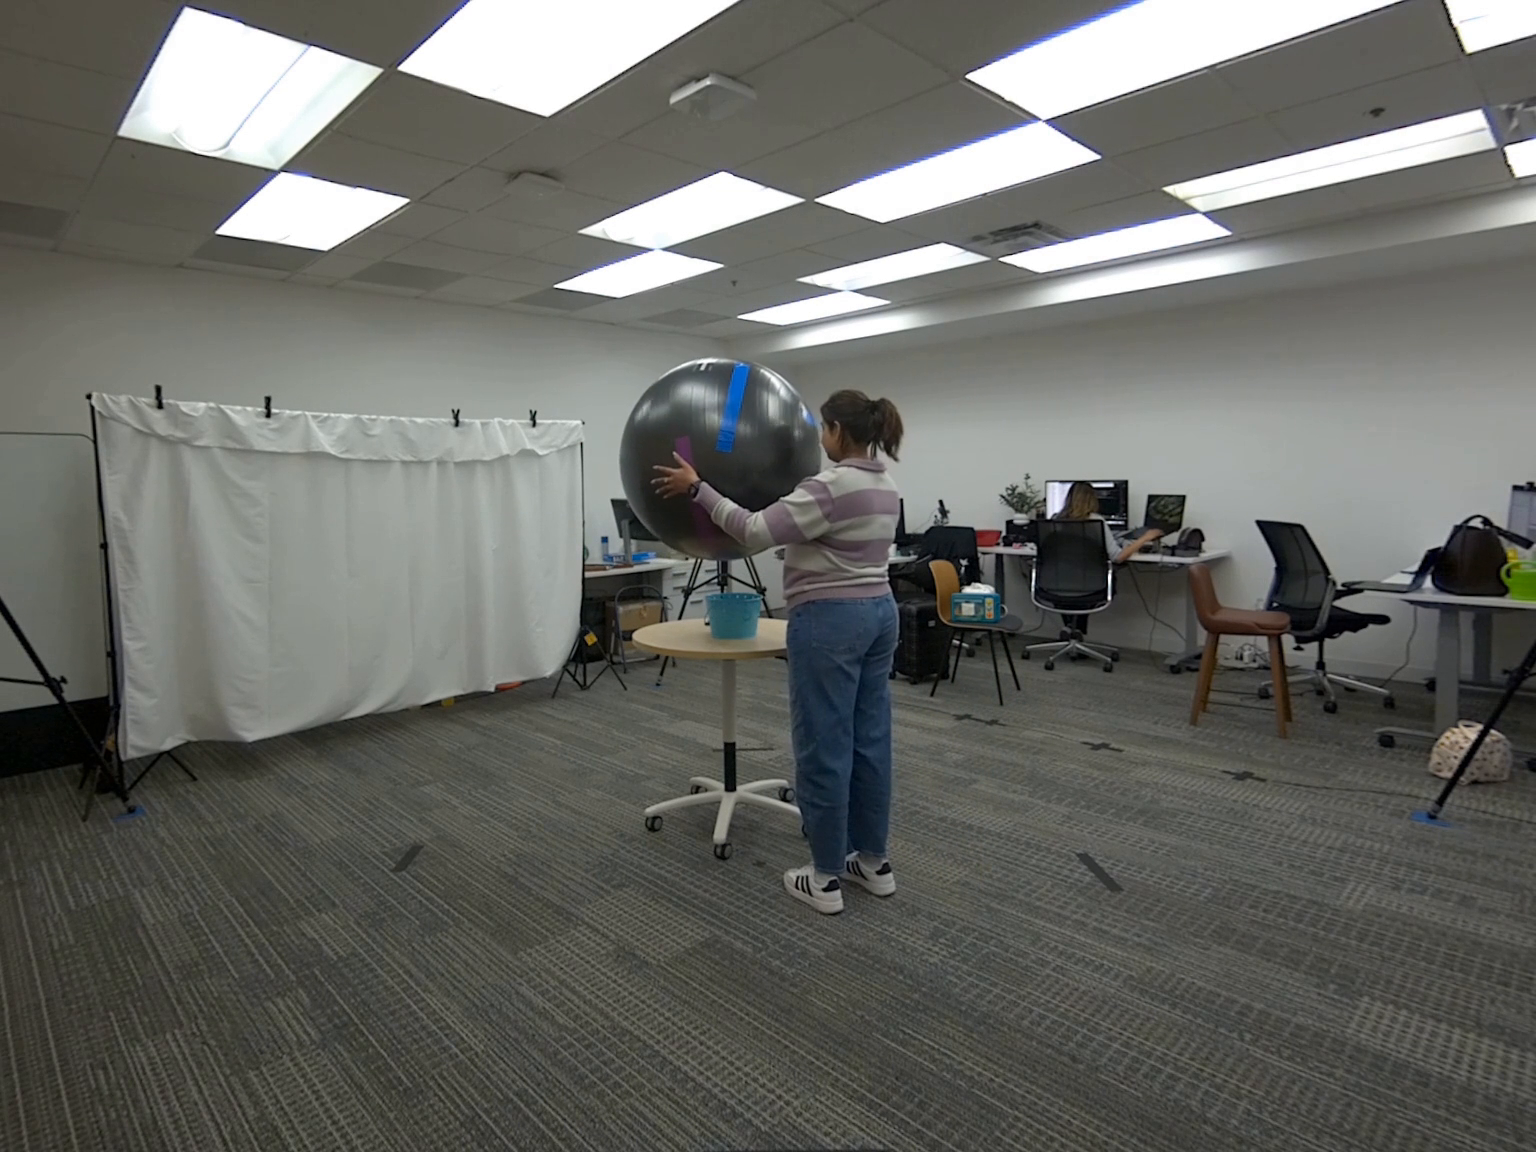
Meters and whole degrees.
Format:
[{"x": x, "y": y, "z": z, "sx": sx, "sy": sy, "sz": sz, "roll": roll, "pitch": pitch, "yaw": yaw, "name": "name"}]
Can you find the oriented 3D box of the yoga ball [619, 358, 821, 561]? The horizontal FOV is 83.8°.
[{"x": -0.187, "y": -0.427, "z": 3.215, "sx": 0.757, "sy": 0.755, "sz": 0.762, "roll": -1, "pitch": 5, "yaw": -2, "name": "yoga ball"}]
